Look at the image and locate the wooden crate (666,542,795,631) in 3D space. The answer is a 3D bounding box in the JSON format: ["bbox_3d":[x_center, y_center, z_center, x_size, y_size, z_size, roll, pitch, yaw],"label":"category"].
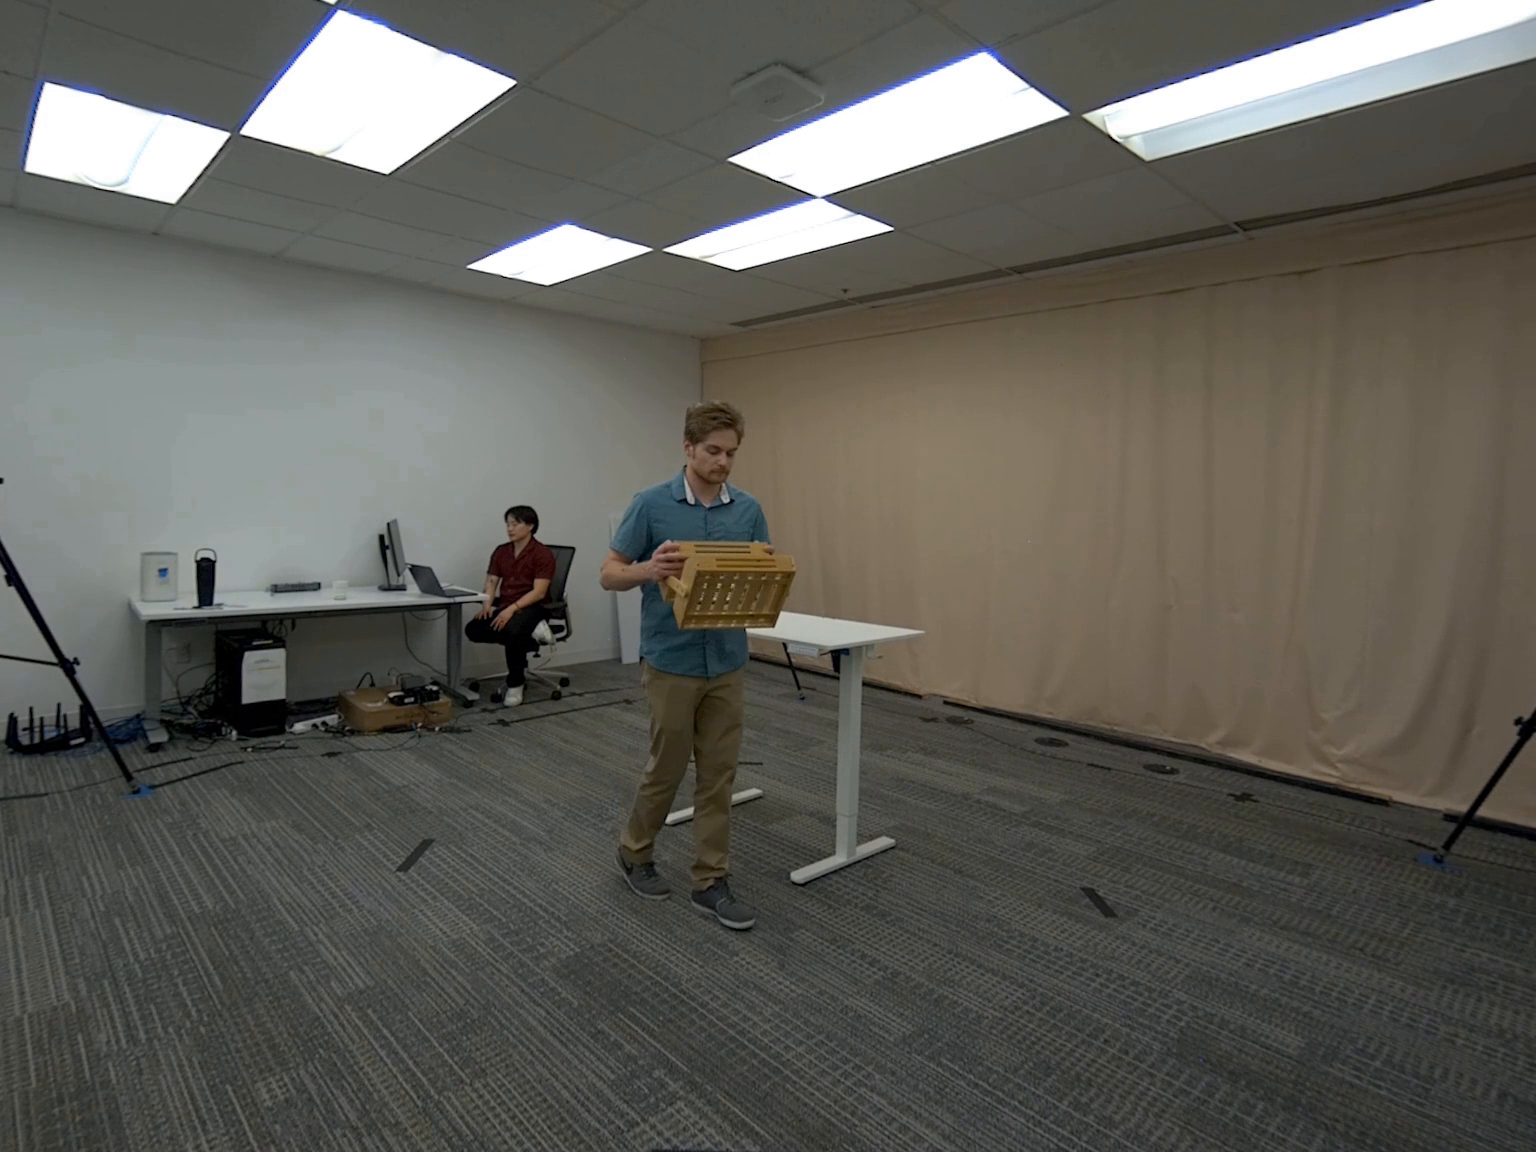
[{"bbox_3d":[-0.142,-0.004,2.525,0.319,0.298,0.281,1,40,-23],"label":"wooden crate"}]
